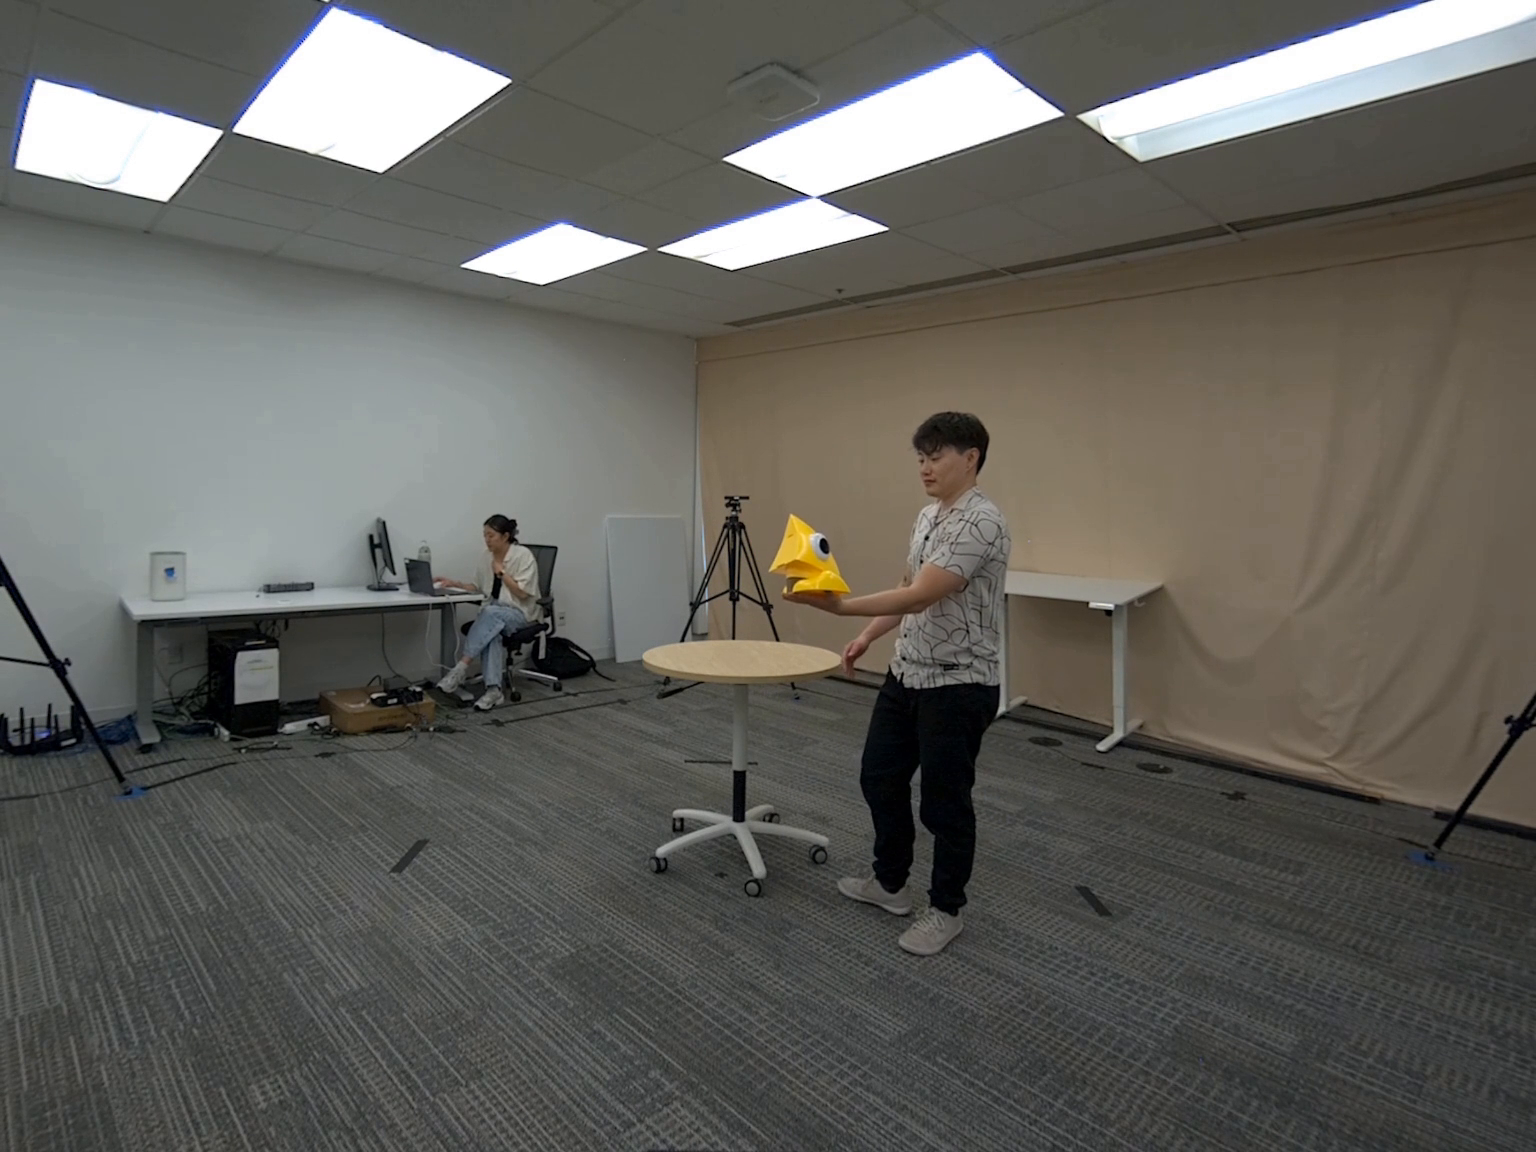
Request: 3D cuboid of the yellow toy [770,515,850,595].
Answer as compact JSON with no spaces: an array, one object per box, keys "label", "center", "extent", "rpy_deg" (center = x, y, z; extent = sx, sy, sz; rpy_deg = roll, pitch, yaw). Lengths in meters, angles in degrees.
[{"label":"yellow toy","center":[0.122,-0.057,2.406],"extent":[0.190,0.232,0.206],"rpy_deg":[4,-11,-19]}]
